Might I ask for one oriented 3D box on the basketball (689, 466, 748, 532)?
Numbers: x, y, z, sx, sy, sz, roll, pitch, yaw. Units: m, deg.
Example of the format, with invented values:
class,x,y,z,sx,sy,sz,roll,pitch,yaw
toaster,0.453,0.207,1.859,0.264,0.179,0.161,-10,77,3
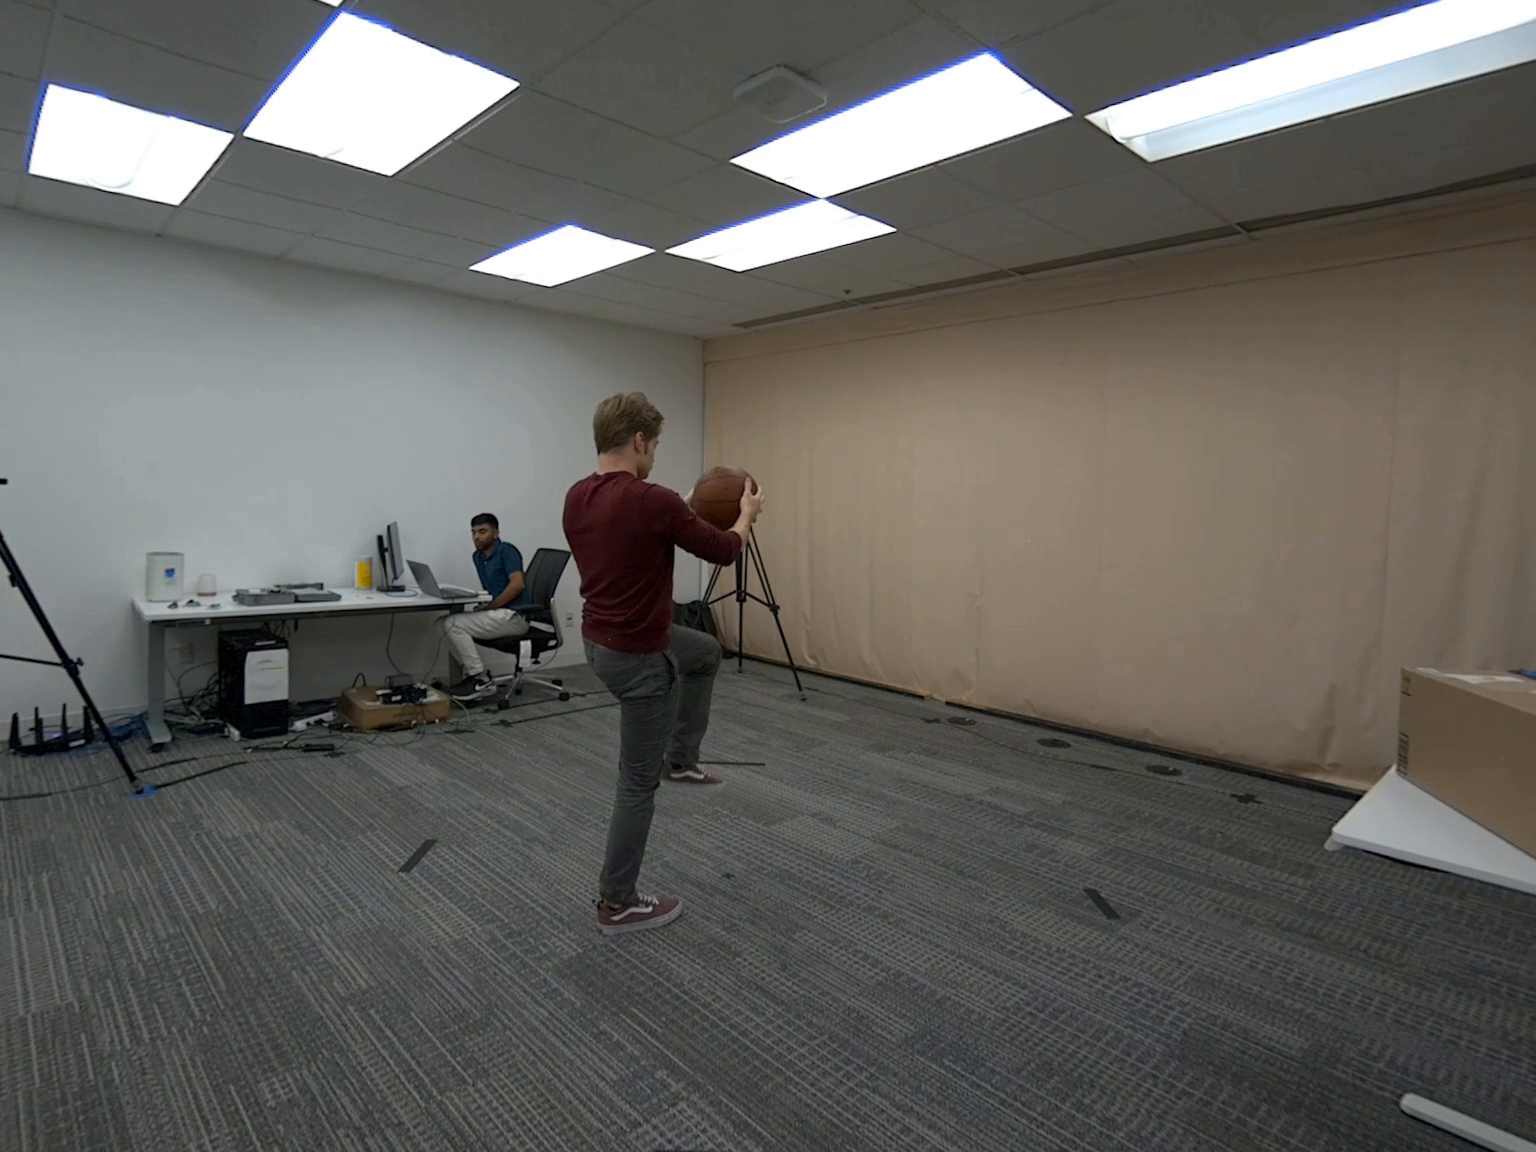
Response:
class,x,y,z,sx,sy,sz,roll,pitch,yaw
basketball,-0.154,-0.258,2.987,0.236,0.235,0.237,1,4,-1
